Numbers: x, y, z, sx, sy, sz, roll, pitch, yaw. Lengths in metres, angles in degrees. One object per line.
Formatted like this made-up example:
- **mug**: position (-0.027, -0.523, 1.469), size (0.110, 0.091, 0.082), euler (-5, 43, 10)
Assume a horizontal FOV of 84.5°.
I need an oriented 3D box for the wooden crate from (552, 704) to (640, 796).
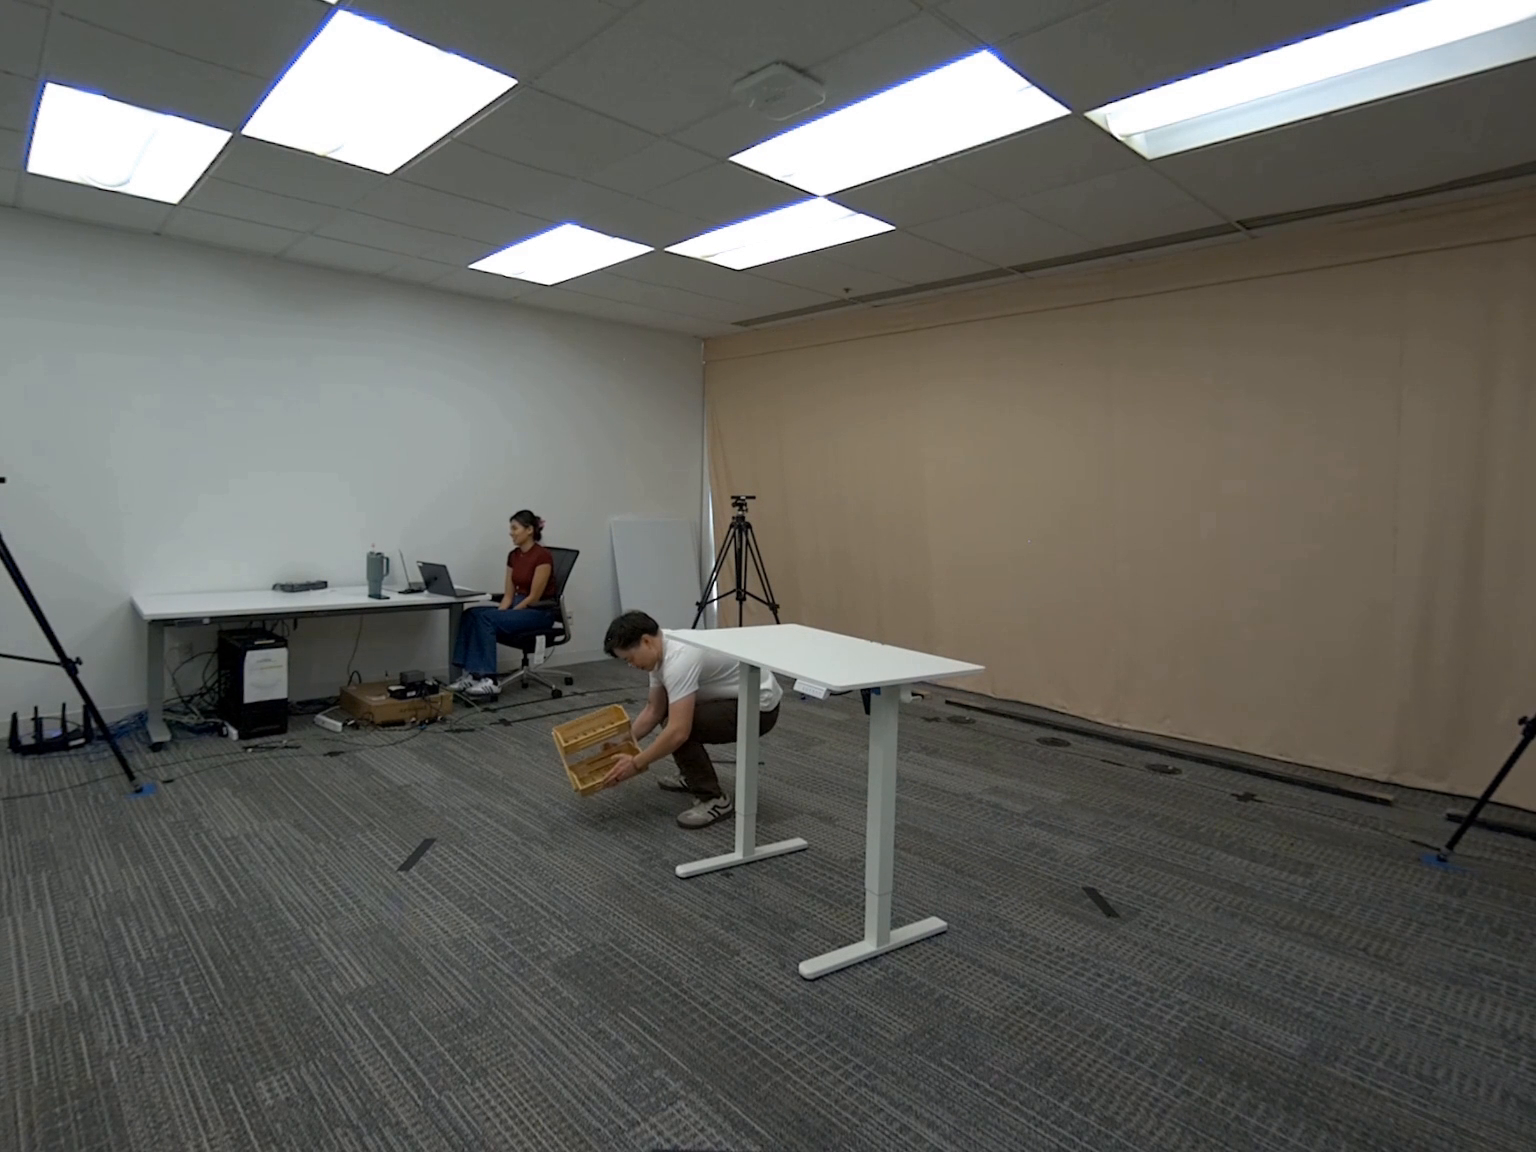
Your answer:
- **wooden crate**: position (-0.725, 0.731, 3.602), size (0.321, 0.272, 0.307), euler (-19, 7, -23)
